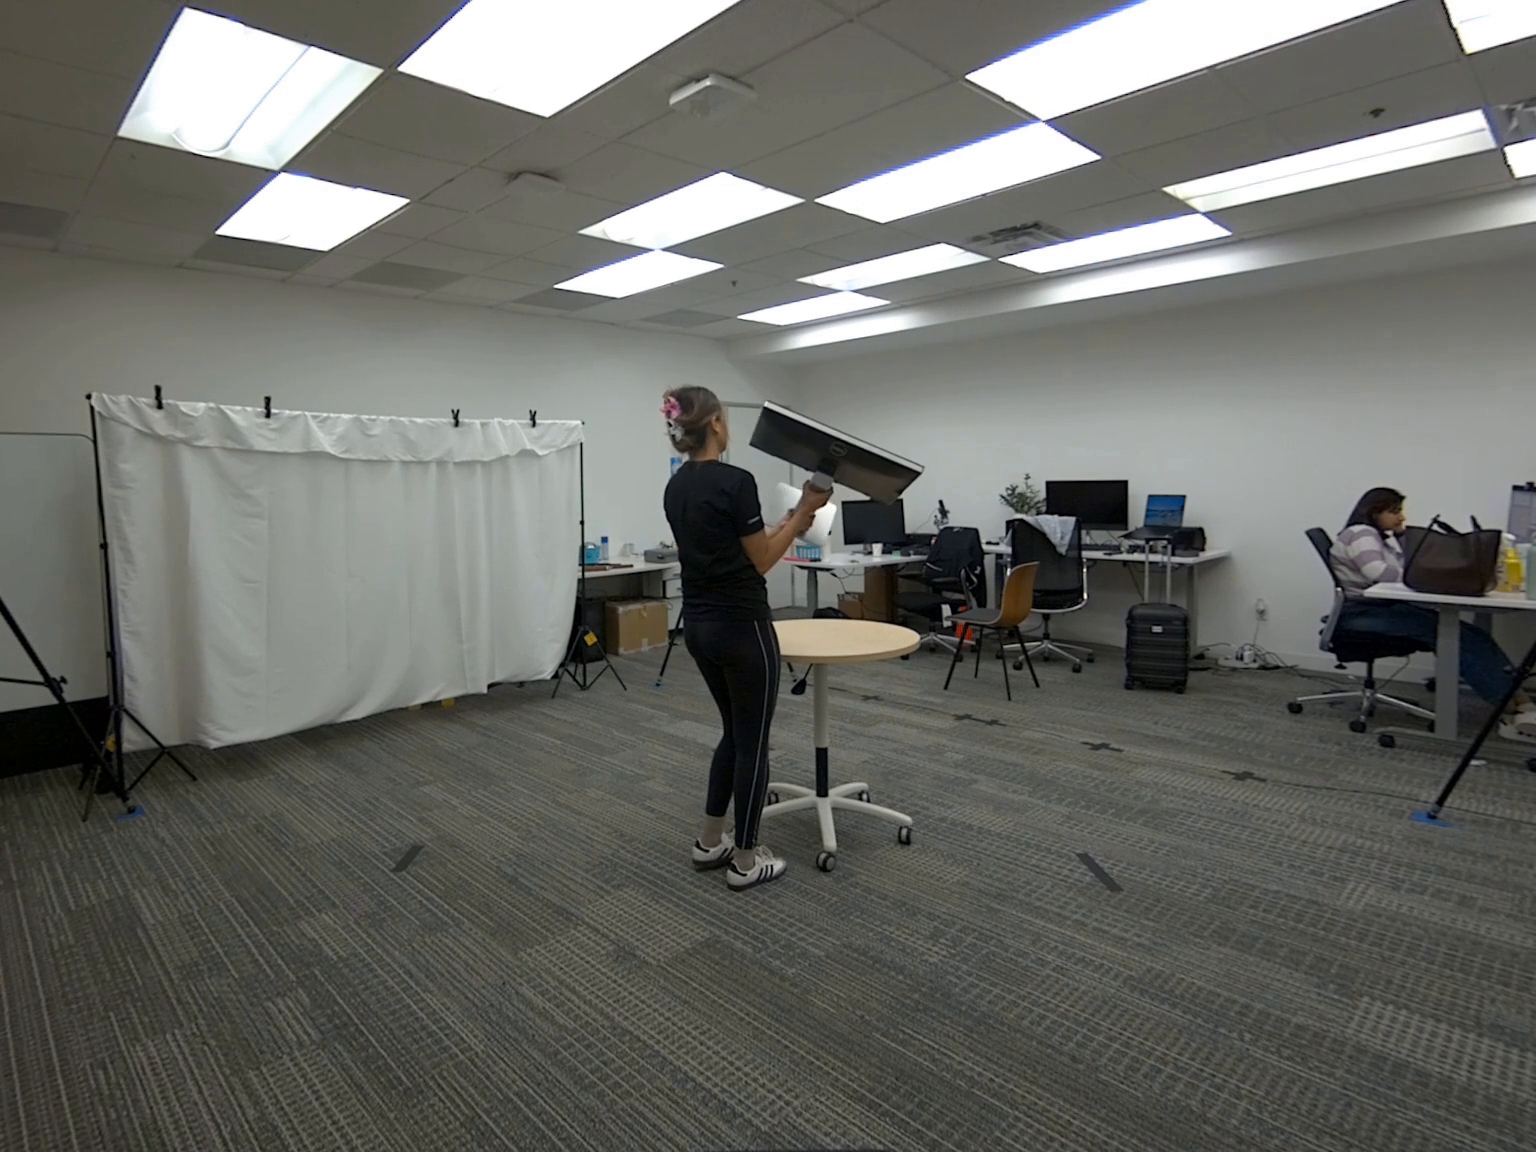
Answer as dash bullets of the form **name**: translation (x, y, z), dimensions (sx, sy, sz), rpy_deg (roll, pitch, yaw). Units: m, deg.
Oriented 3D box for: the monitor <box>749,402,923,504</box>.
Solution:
- **monitor**: translation (0.179, -0.338, 2.994), dimensions (0.539, 0.189, 0.517), rpy_deg (23, -29, -1)
